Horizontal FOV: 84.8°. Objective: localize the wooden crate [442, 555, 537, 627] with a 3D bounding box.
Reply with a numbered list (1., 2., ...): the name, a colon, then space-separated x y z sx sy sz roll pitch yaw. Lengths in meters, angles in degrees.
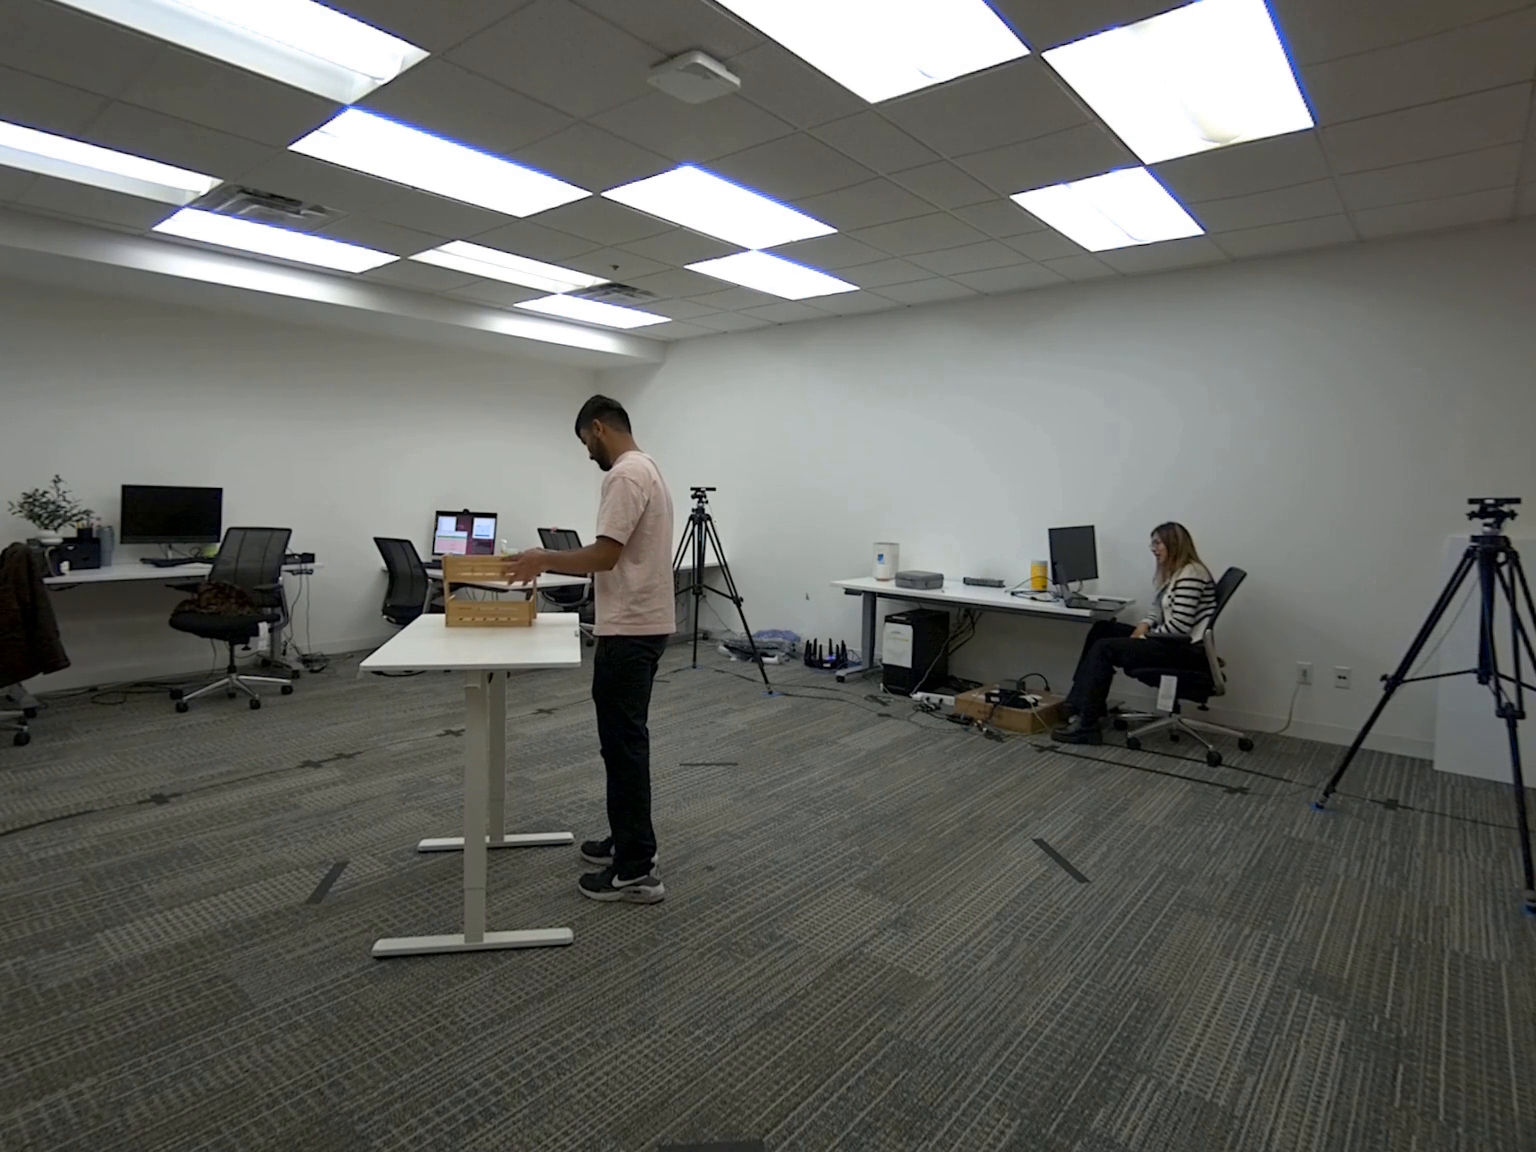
1. wooden crate: -1.034 0.038 3.134 0.321 0.272 0.307 0 6 -12
